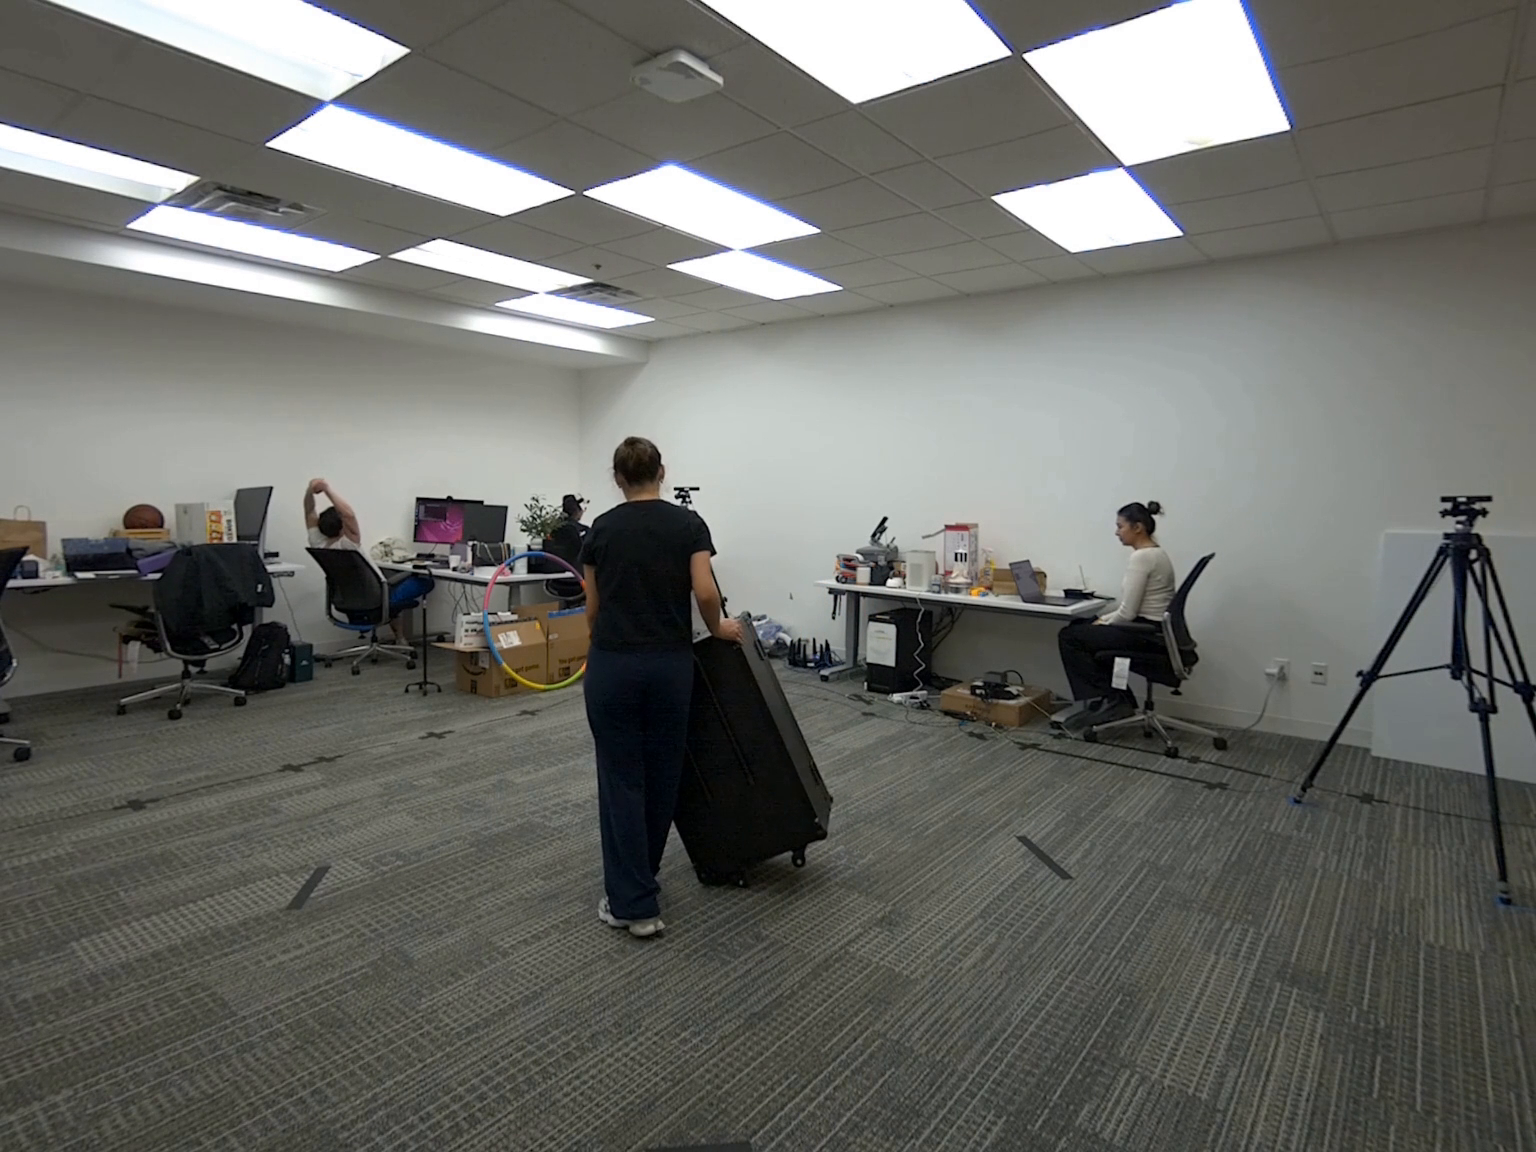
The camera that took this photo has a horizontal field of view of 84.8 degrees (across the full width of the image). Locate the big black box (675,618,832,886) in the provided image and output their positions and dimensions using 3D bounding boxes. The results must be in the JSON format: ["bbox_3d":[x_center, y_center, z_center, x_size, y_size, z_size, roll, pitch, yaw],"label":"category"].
[{"bbox_3d":[-0.123,0.634,3.102,0.525,0.863,0.393,-25,-1,12],"label":"big black box"}]
